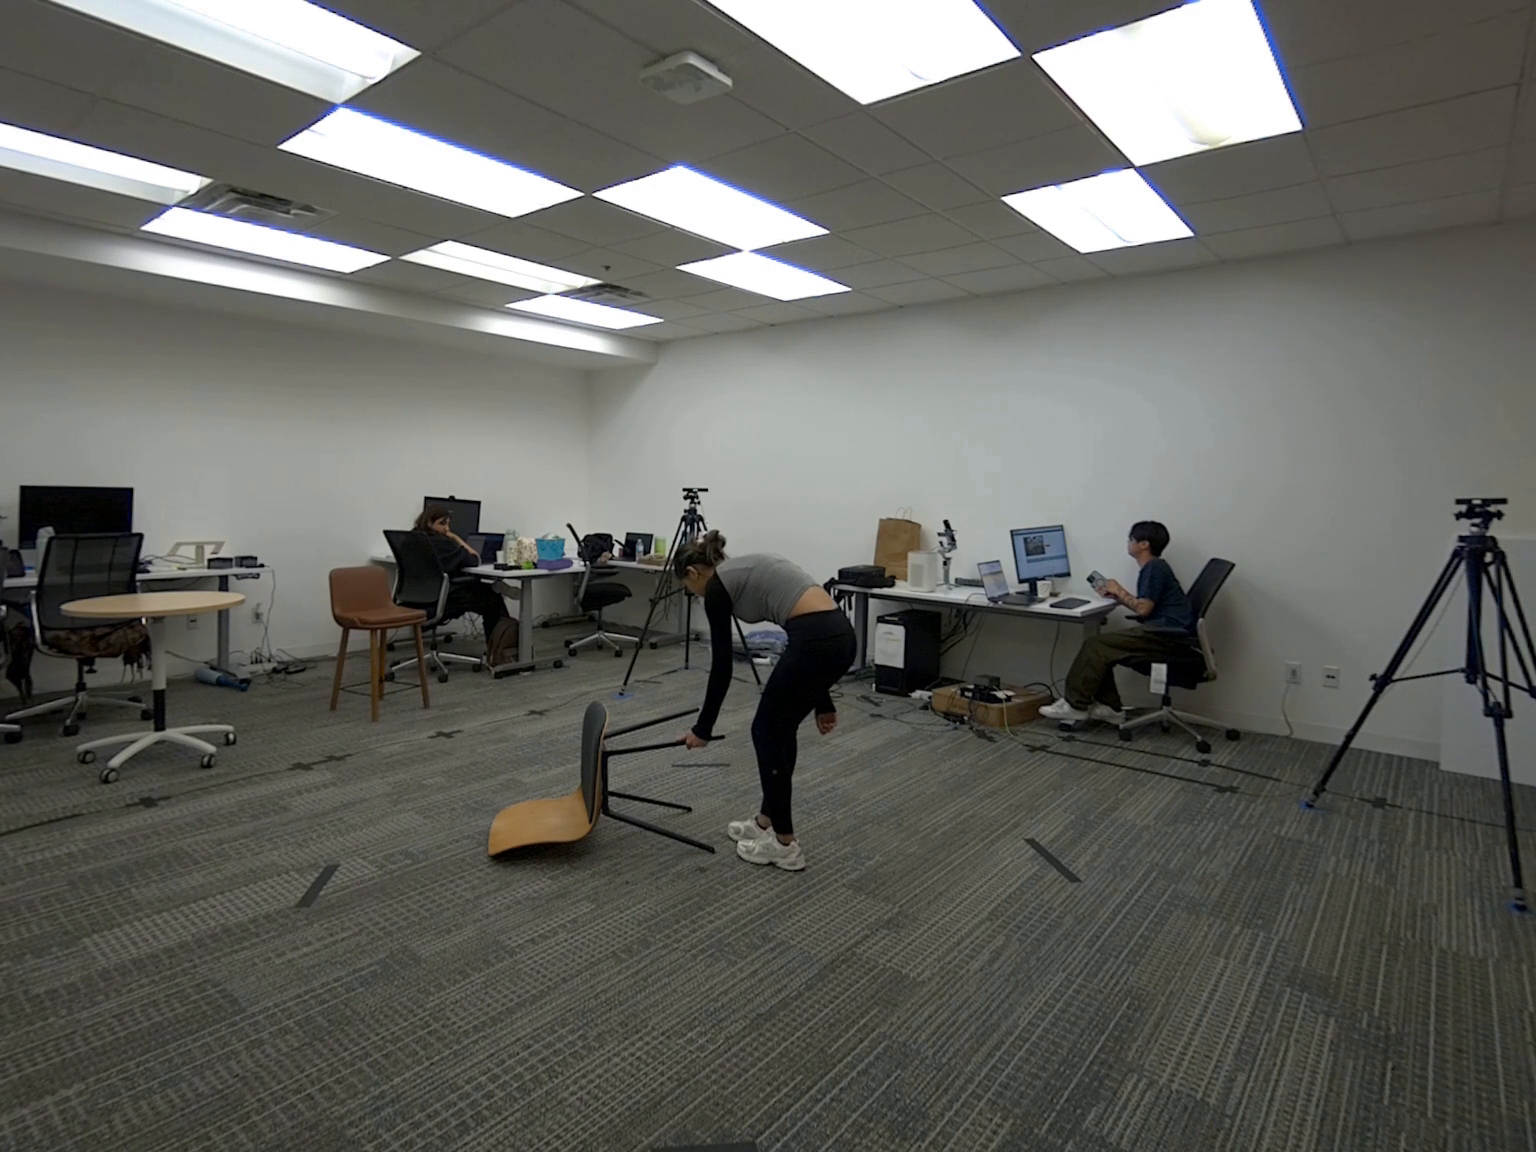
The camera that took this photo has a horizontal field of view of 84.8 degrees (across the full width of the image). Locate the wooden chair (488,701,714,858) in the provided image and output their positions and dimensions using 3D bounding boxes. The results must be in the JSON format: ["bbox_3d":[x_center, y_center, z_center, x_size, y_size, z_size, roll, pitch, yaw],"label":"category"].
[{"bbox_3d":[-0.669,0.778,3.357,0.865,0.521,0.487,-2,4,-14],"label":"wooden chair"}]
